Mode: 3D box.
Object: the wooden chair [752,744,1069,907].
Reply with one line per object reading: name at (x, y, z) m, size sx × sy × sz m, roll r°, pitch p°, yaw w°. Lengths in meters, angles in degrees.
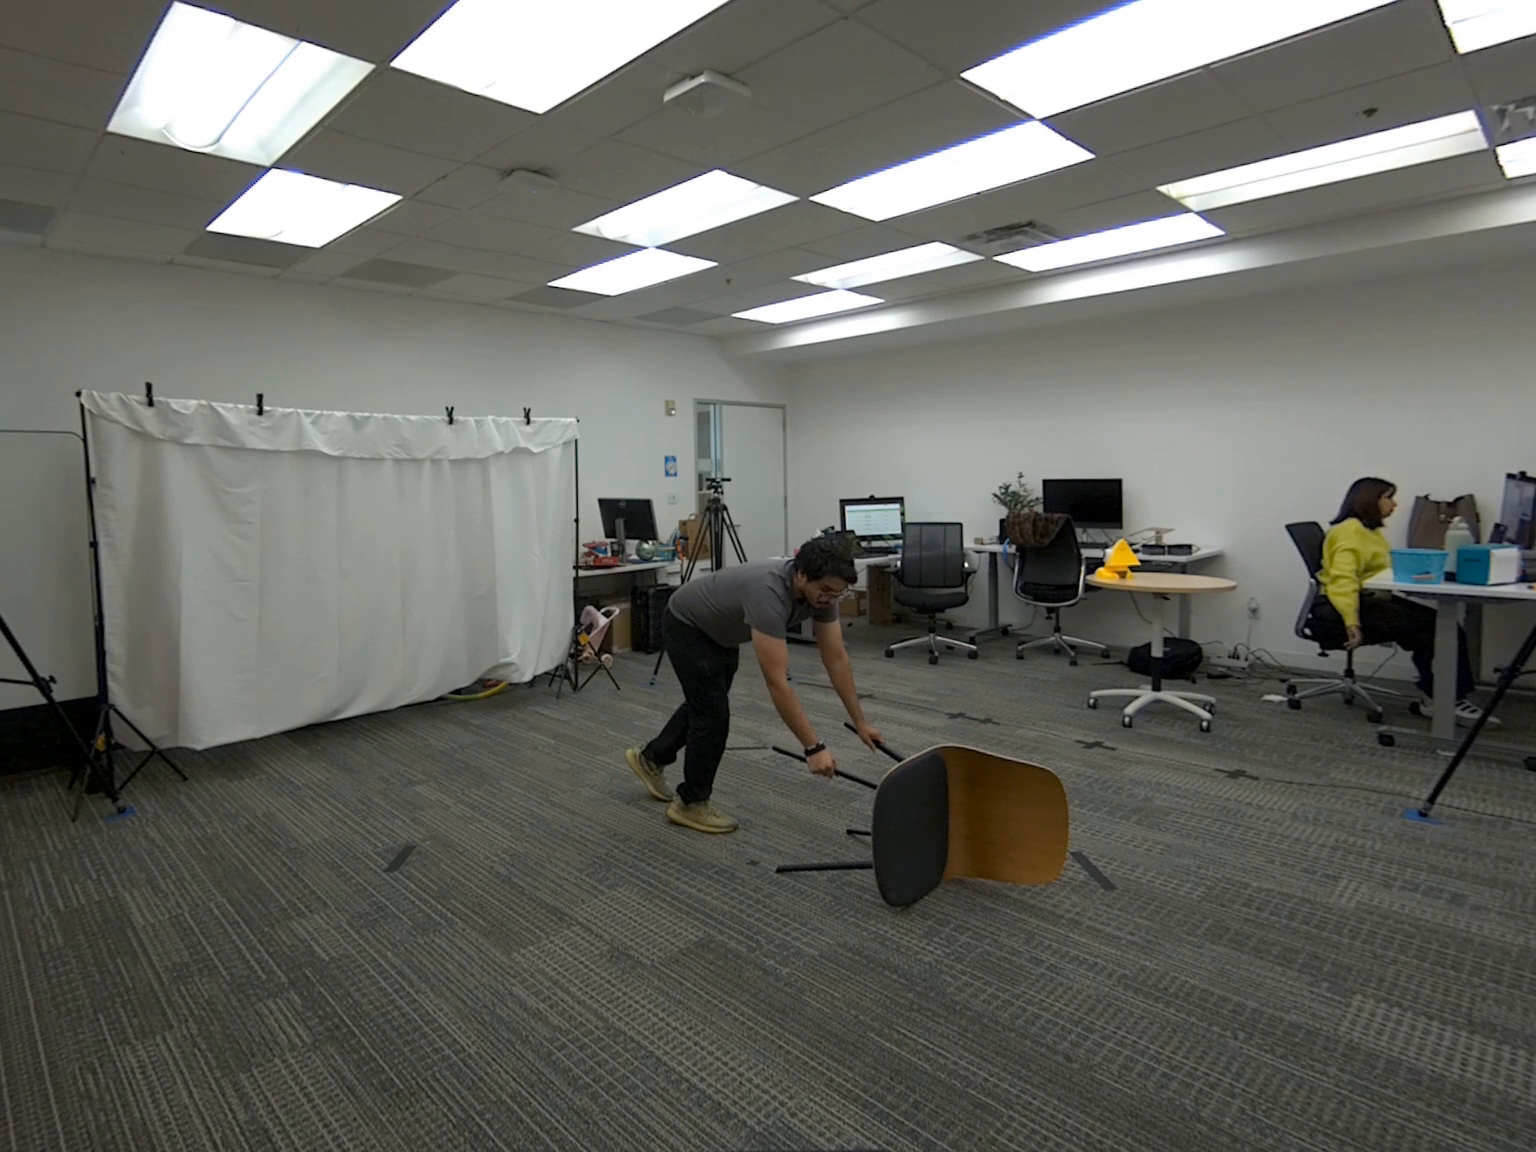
wooden chair at (0.491, 0.827, 2.890) m, size 0.902 × 0.477 × 0.510 m, roll 2°, pitch 5°, yaw 37°
